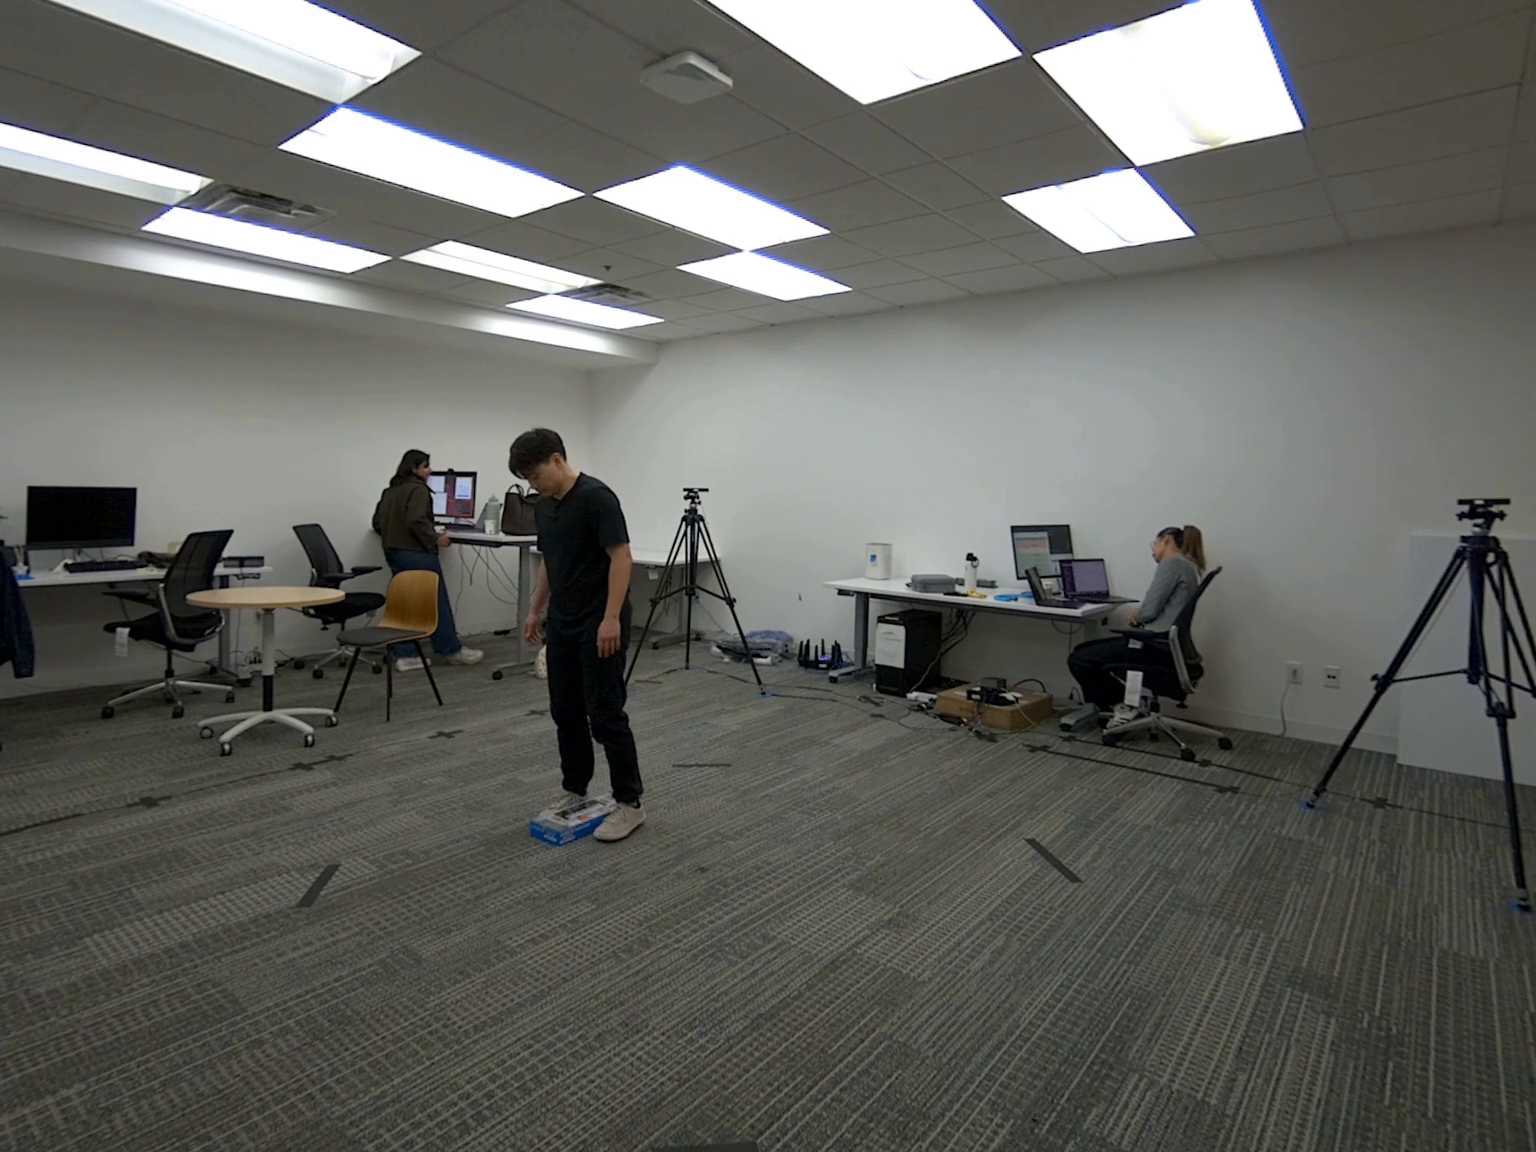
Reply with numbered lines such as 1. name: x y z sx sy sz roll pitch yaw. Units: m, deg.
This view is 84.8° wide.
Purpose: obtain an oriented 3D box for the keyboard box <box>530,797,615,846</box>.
1. keyboard box: -0.767 0.993 3.502 0.182 0.059 0.424 5 6 36
